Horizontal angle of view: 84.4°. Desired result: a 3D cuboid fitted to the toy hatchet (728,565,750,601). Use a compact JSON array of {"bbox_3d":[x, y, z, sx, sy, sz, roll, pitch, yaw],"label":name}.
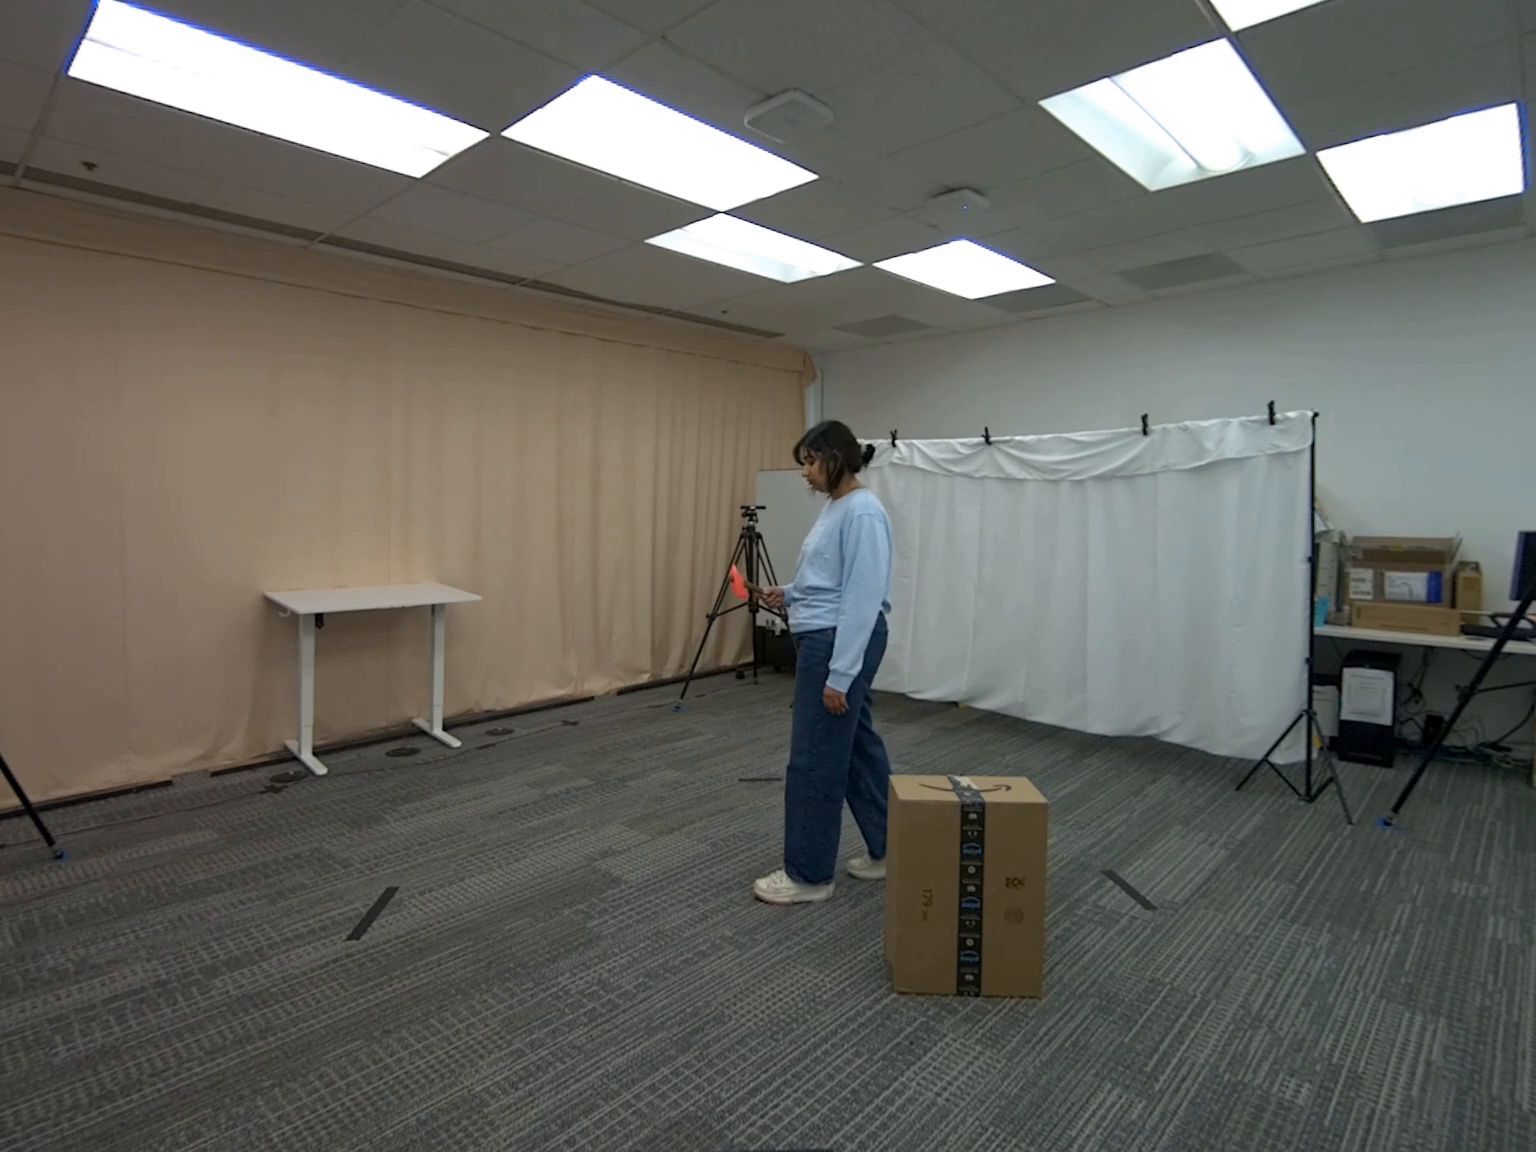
[{"bbox_3d":[-0.038,0.078,3.045,0.262,0.133,0.030,37,-55,-26],"label":"toy hatchet"}]
